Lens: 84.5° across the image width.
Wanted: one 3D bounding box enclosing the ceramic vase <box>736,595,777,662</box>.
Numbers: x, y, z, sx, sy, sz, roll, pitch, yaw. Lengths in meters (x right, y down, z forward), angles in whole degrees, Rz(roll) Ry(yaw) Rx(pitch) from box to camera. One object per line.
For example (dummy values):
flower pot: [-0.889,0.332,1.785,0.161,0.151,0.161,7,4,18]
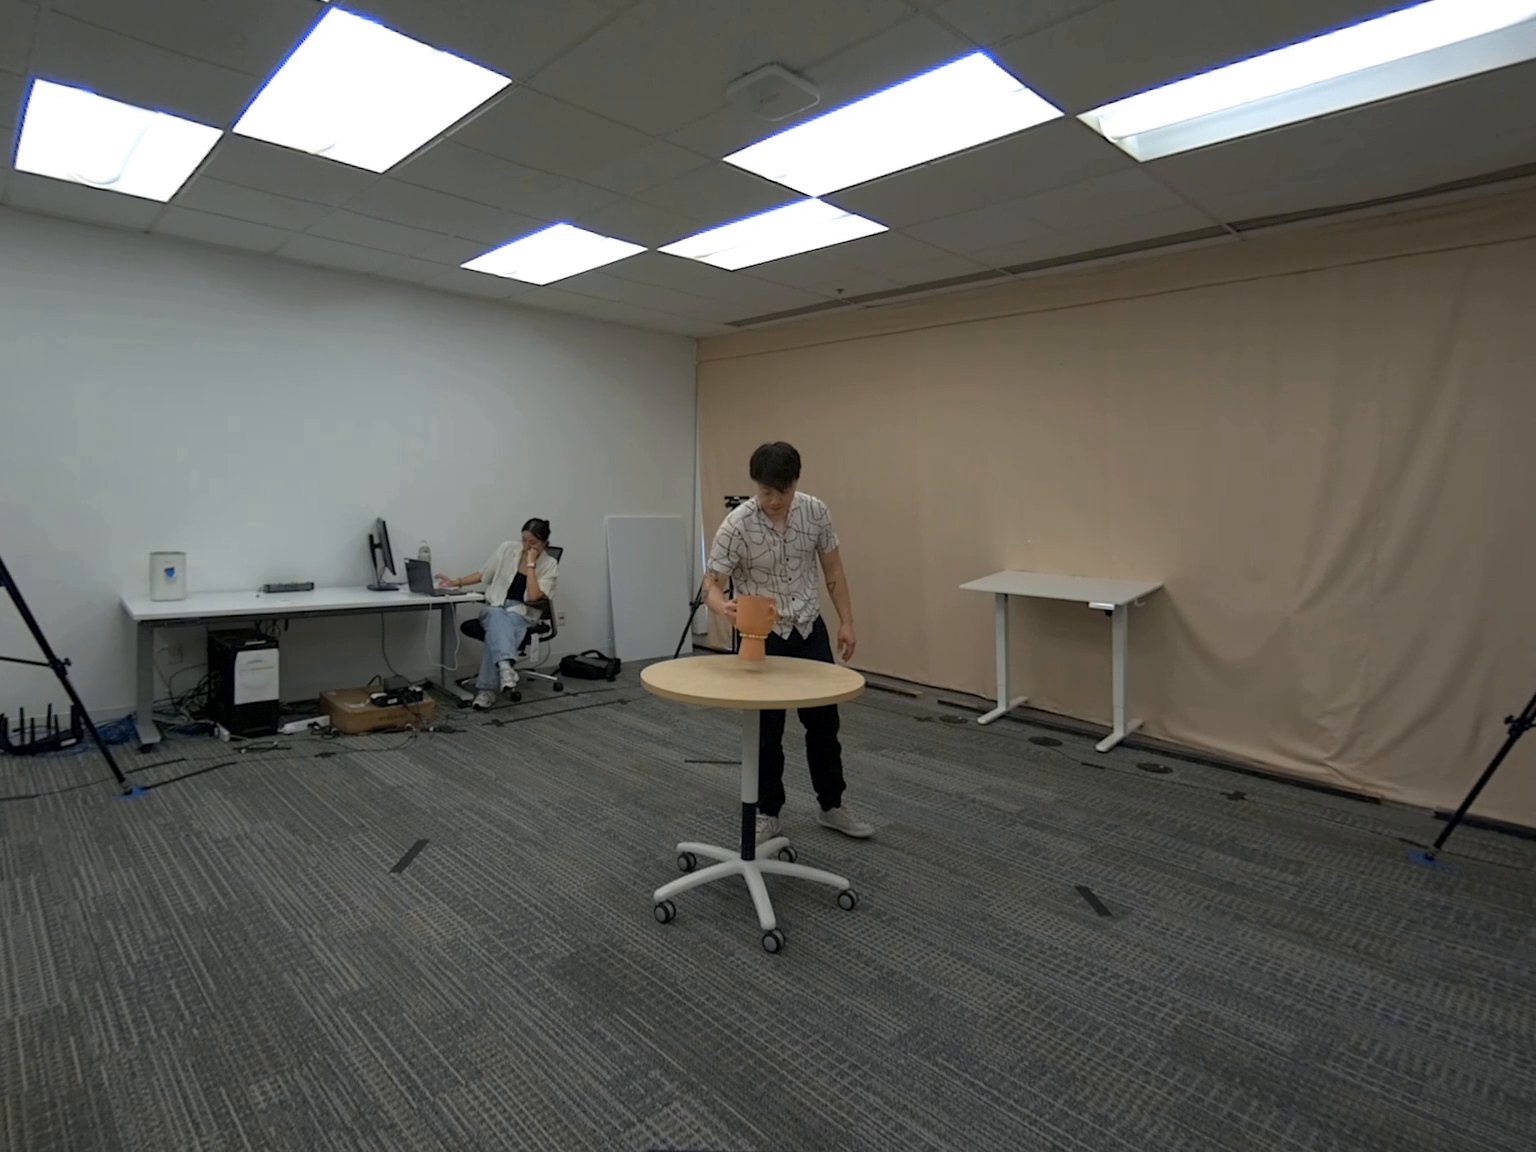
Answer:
ceramic vase: [-0.056,0.177,2.943,0.133,0.220,0.160,5,-1,-10]
